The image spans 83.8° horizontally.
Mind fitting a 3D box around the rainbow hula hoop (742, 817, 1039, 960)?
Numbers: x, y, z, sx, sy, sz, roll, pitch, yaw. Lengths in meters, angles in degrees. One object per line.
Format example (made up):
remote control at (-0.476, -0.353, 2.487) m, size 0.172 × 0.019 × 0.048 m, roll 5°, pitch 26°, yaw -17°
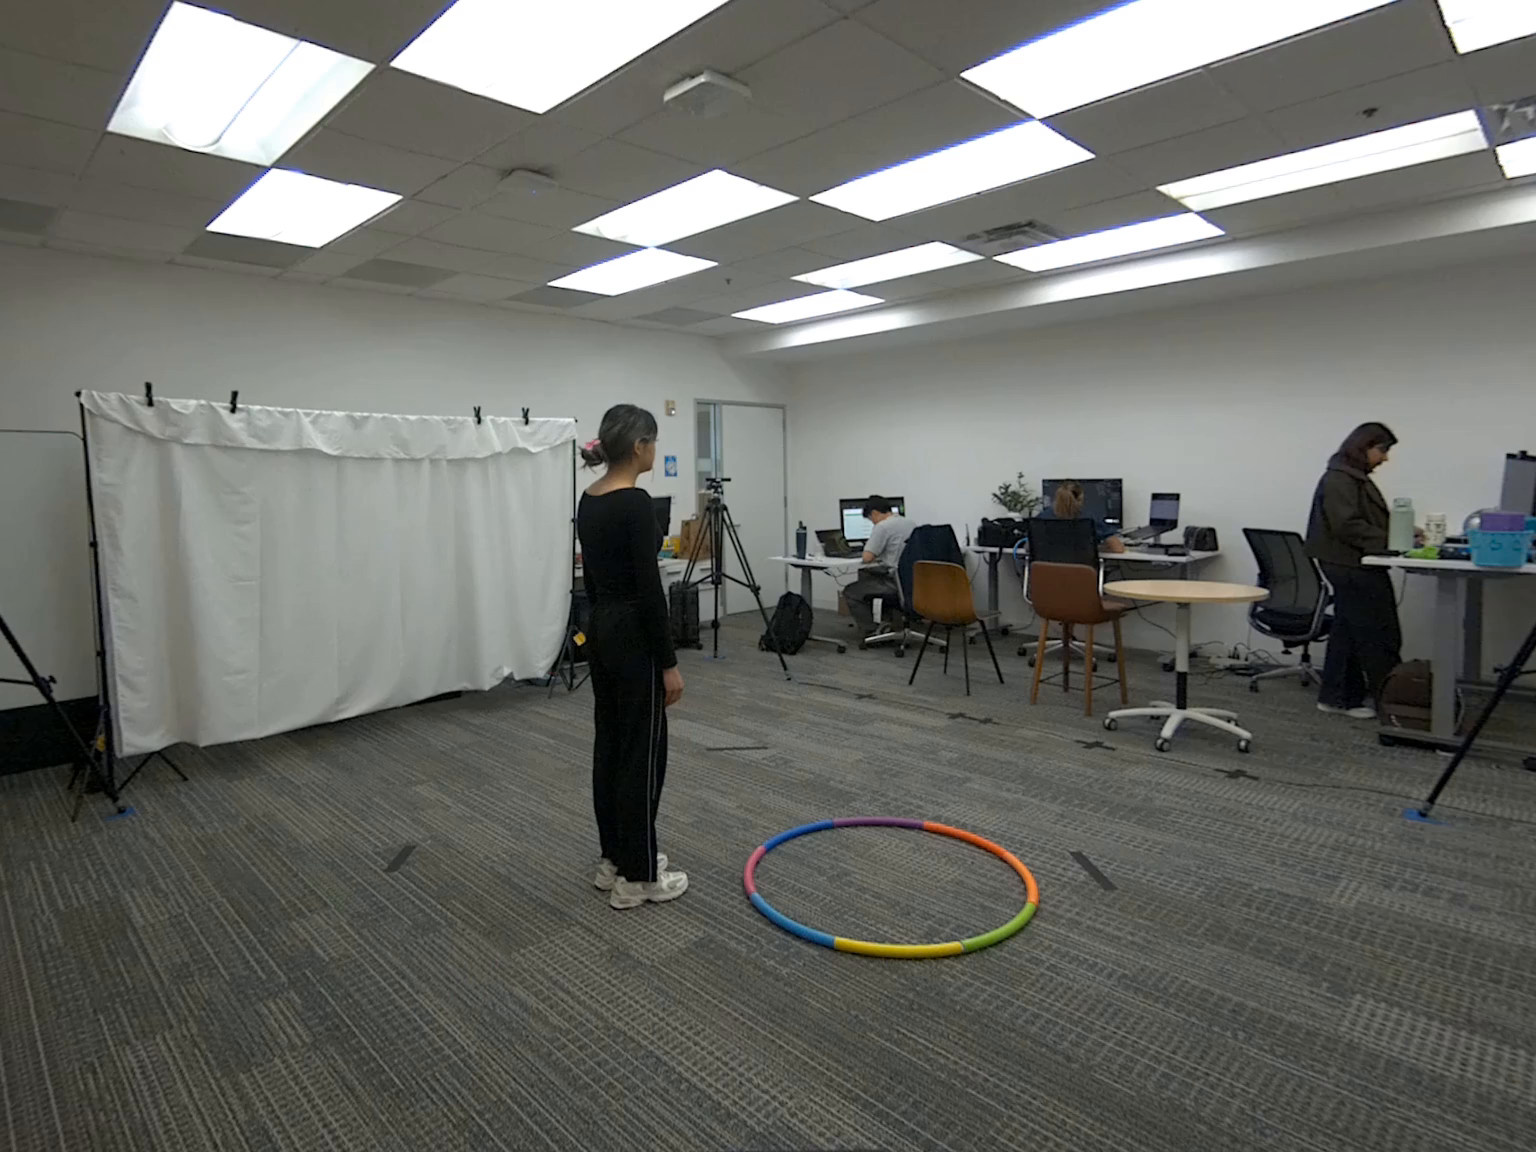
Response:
rainbow hula hoop at (0.409, 1.021, 2.952) m, size 0.978 × 0.035 × 0.984 m, roll -2°, pitch 6°, yaw -2°
